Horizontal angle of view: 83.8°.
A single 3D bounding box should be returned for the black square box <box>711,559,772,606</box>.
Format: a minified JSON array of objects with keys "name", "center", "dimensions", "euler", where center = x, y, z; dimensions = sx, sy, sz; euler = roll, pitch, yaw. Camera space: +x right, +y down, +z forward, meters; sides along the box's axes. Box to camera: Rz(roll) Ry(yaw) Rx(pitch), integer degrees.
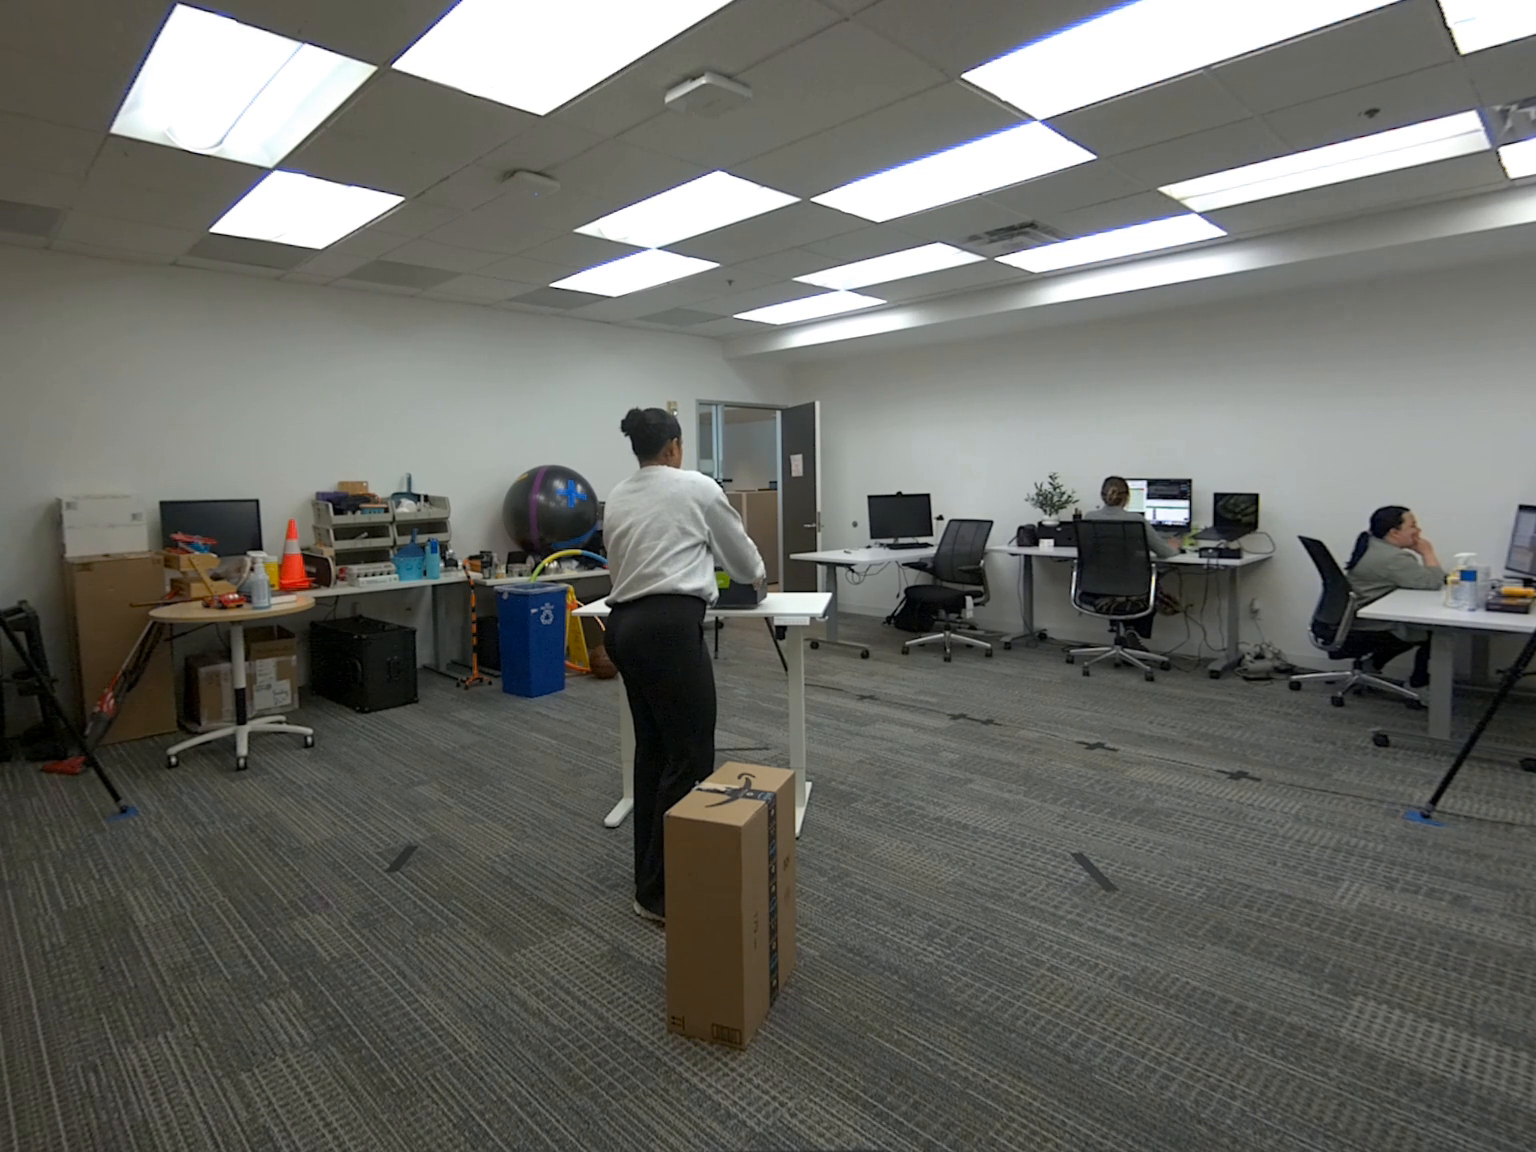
[{"name":"black square box","center":[-0.125,0.022,3.437],"dimensions":[0.231,0.155,0.215],"euler":[-2,6,13]}]
